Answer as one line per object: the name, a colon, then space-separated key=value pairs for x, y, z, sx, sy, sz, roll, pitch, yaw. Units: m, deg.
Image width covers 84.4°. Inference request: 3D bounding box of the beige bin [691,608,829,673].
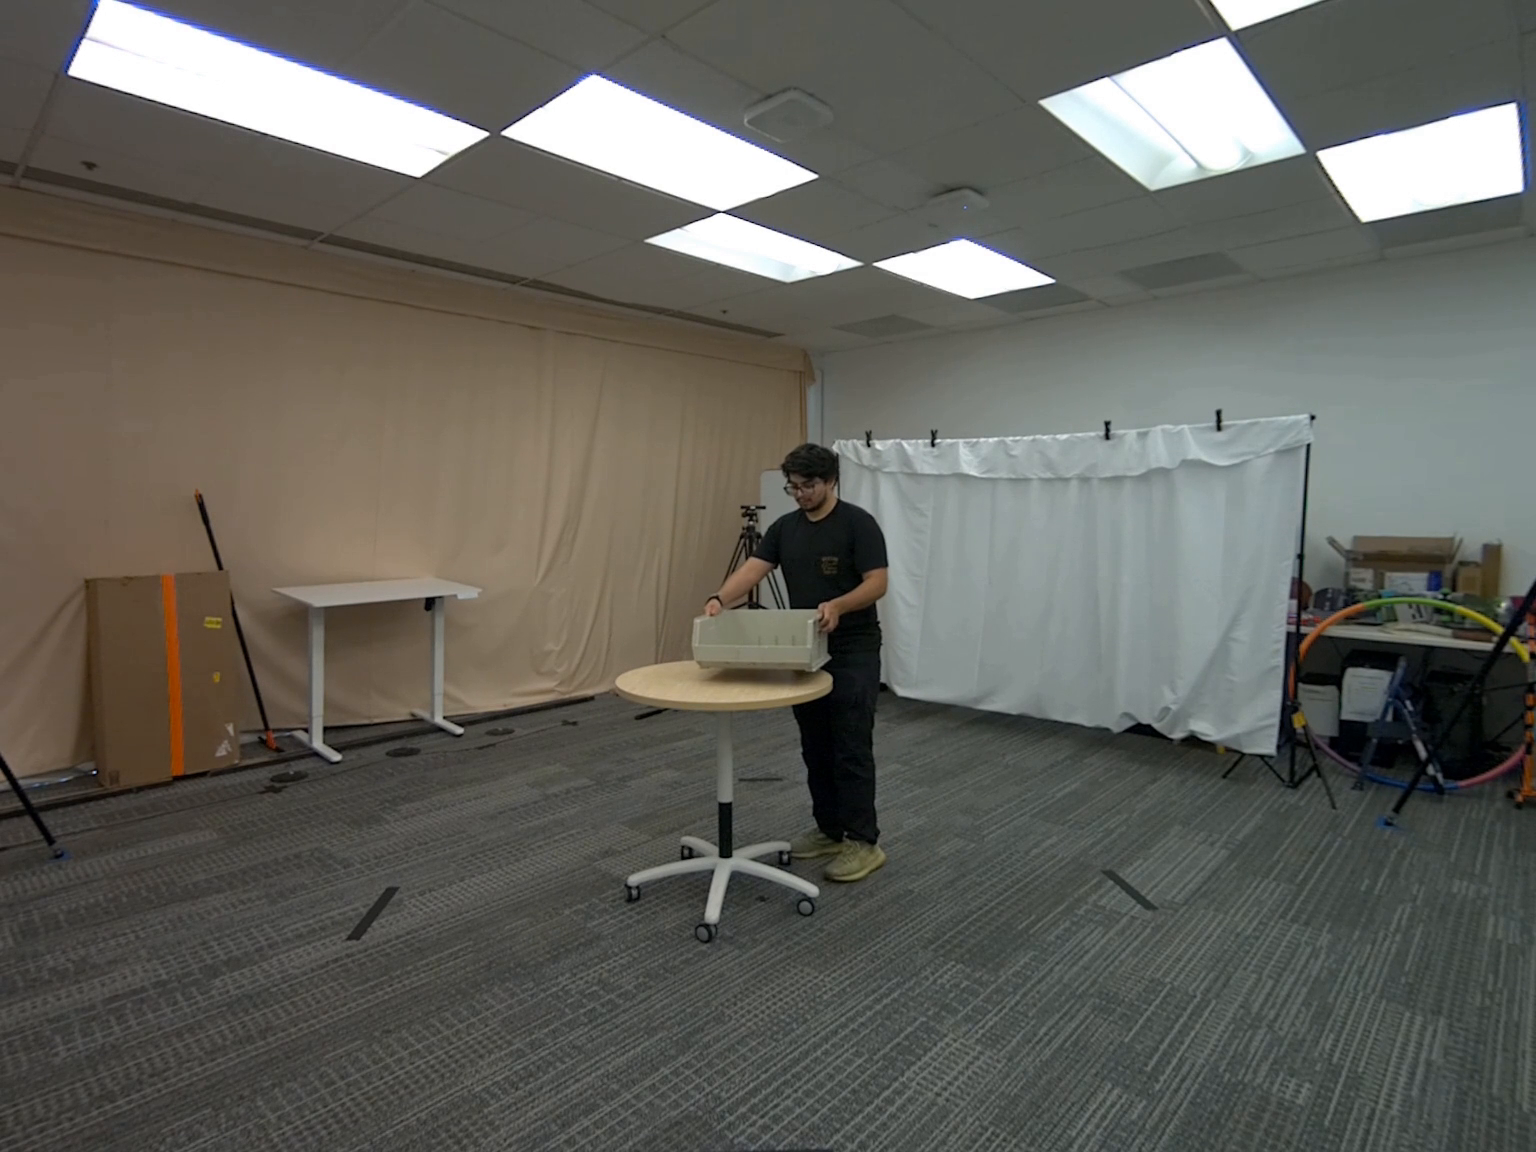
beige bin: x=-0.012 y=0.227 z=2.996 sx=0.430 sy=0.189 sz=0.371 roll=-1 pitch=1 yaw=16
